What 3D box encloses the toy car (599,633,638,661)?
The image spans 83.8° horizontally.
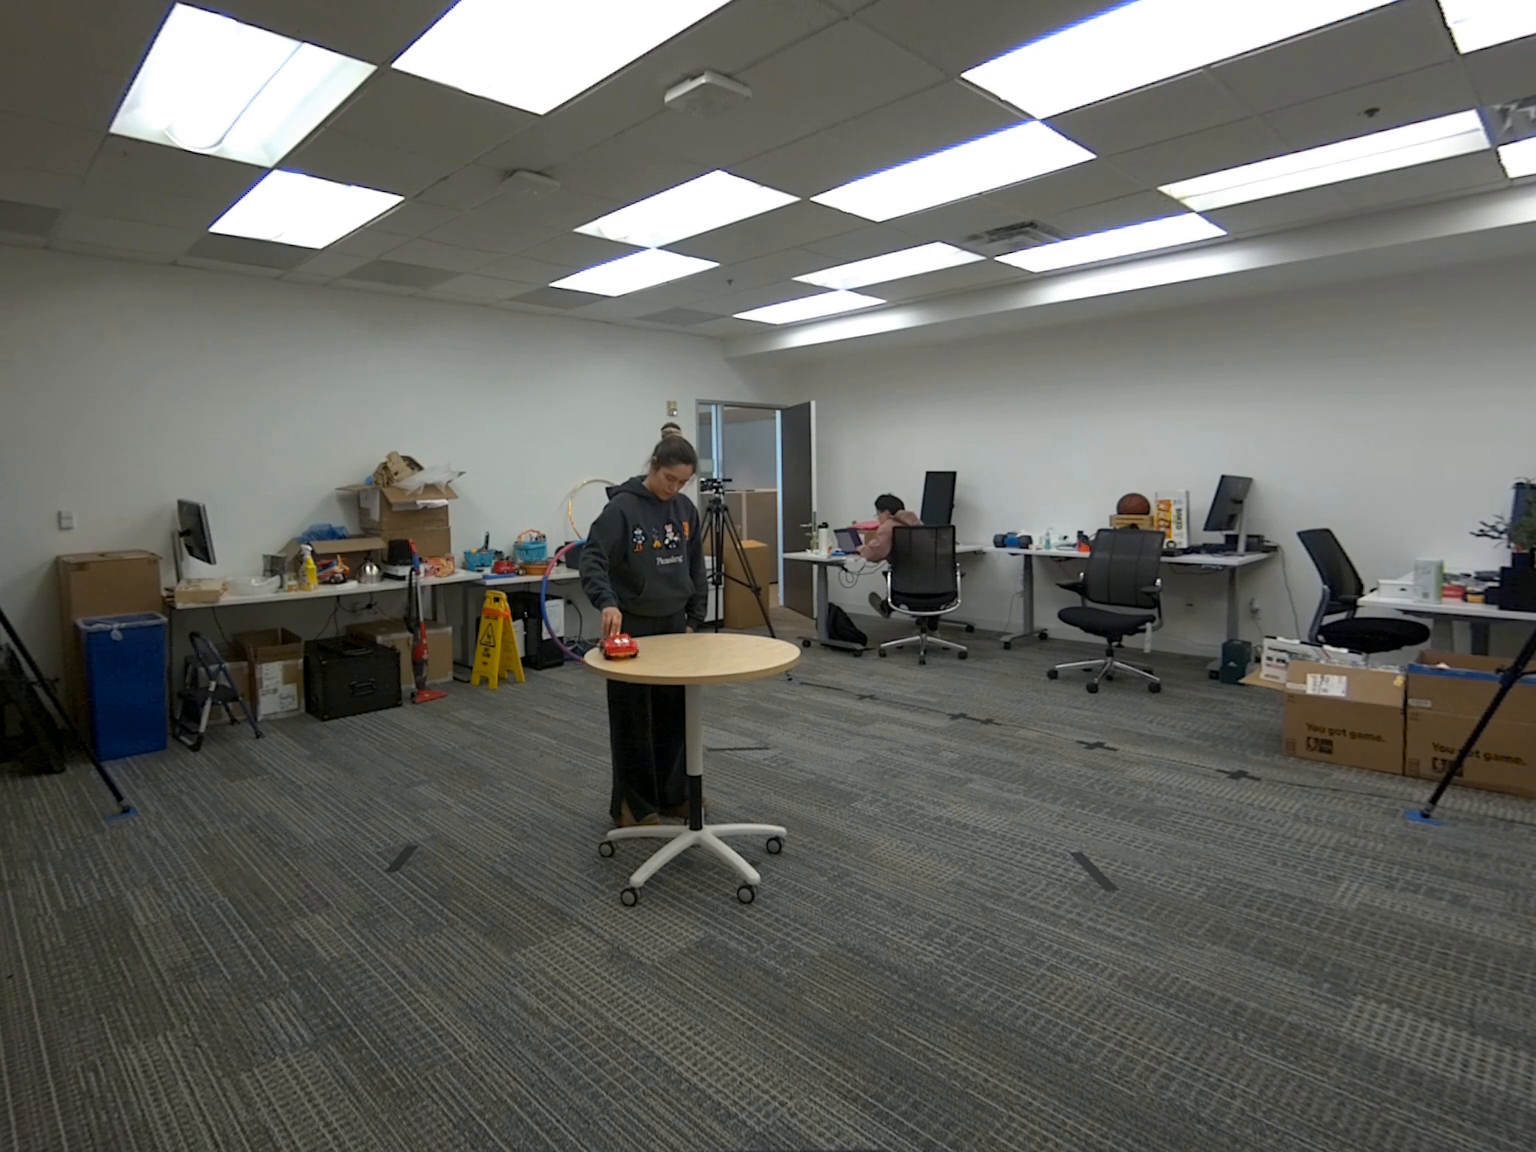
[{"bbox_3d":[-0.529,0.253,3.001,0.128,0.084,0.256,-3,-5,-15],"label":"toy car"}]
